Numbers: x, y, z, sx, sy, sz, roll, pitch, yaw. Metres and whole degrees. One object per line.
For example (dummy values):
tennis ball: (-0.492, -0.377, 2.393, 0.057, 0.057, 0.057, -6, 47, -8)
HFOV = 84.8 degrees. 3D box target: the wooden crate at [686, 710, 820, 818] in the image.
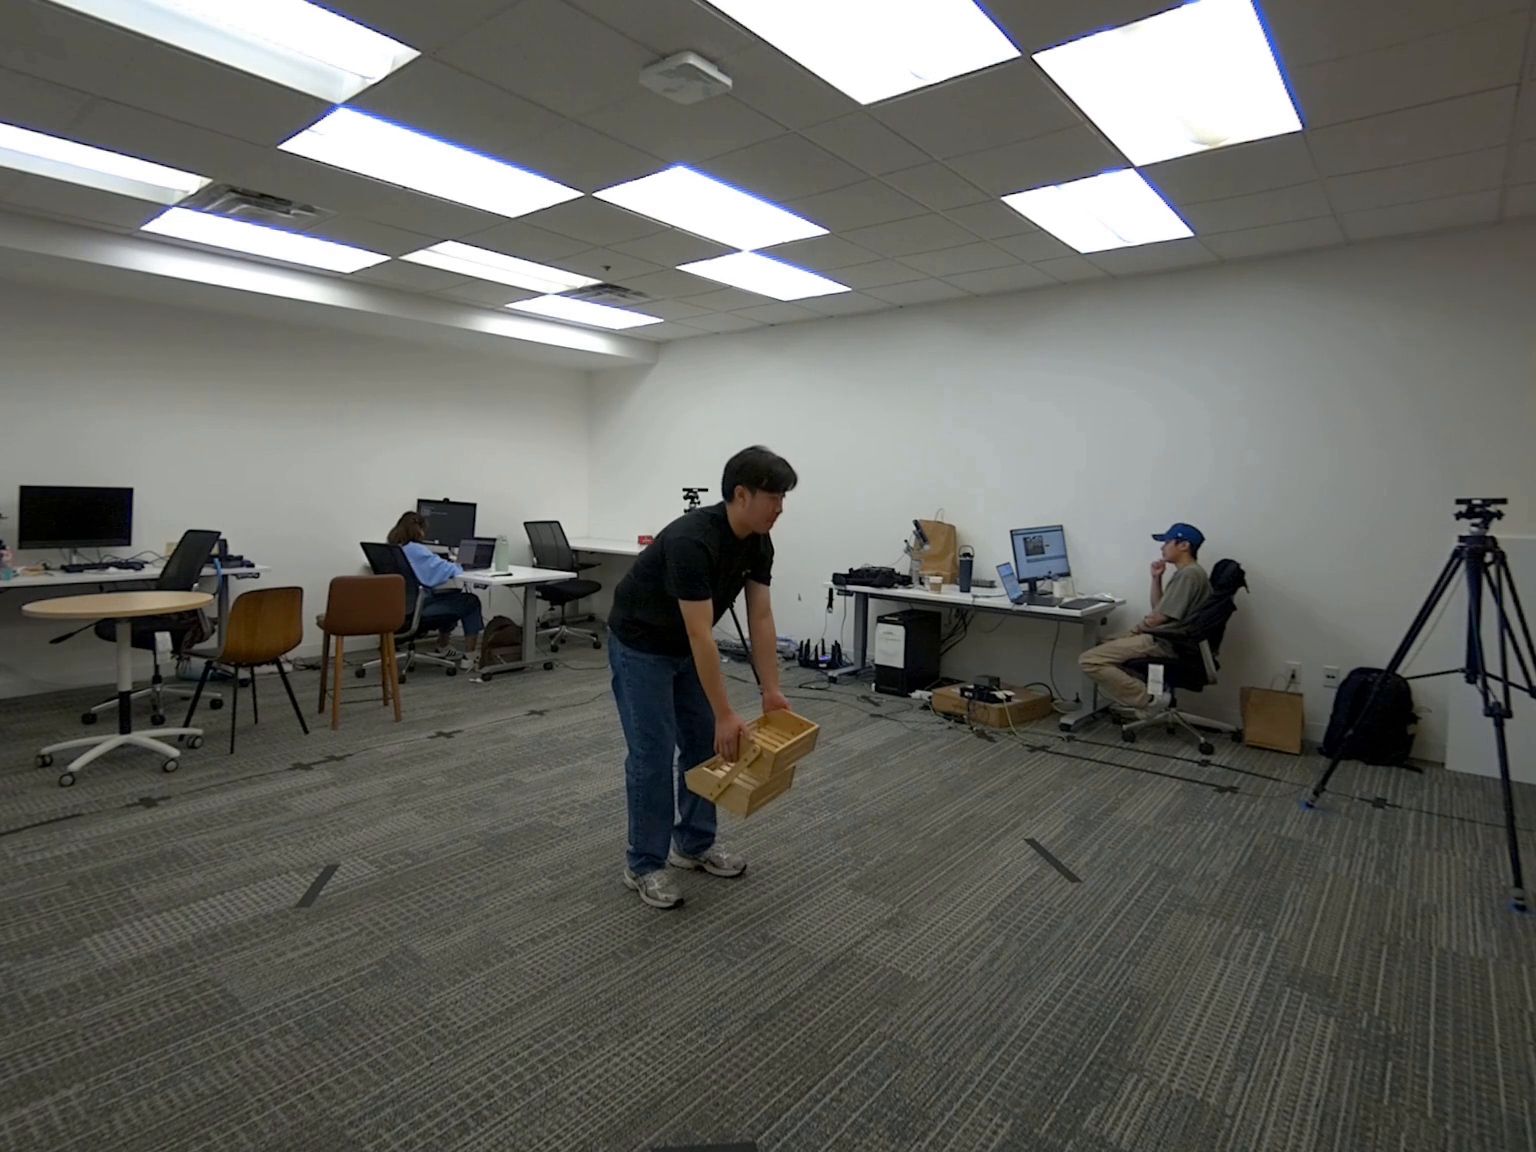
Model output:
wooden crate: (-0.057, 0.589, 2.822, 0.312, 0.270, 0.317, 18, 16, 29)
